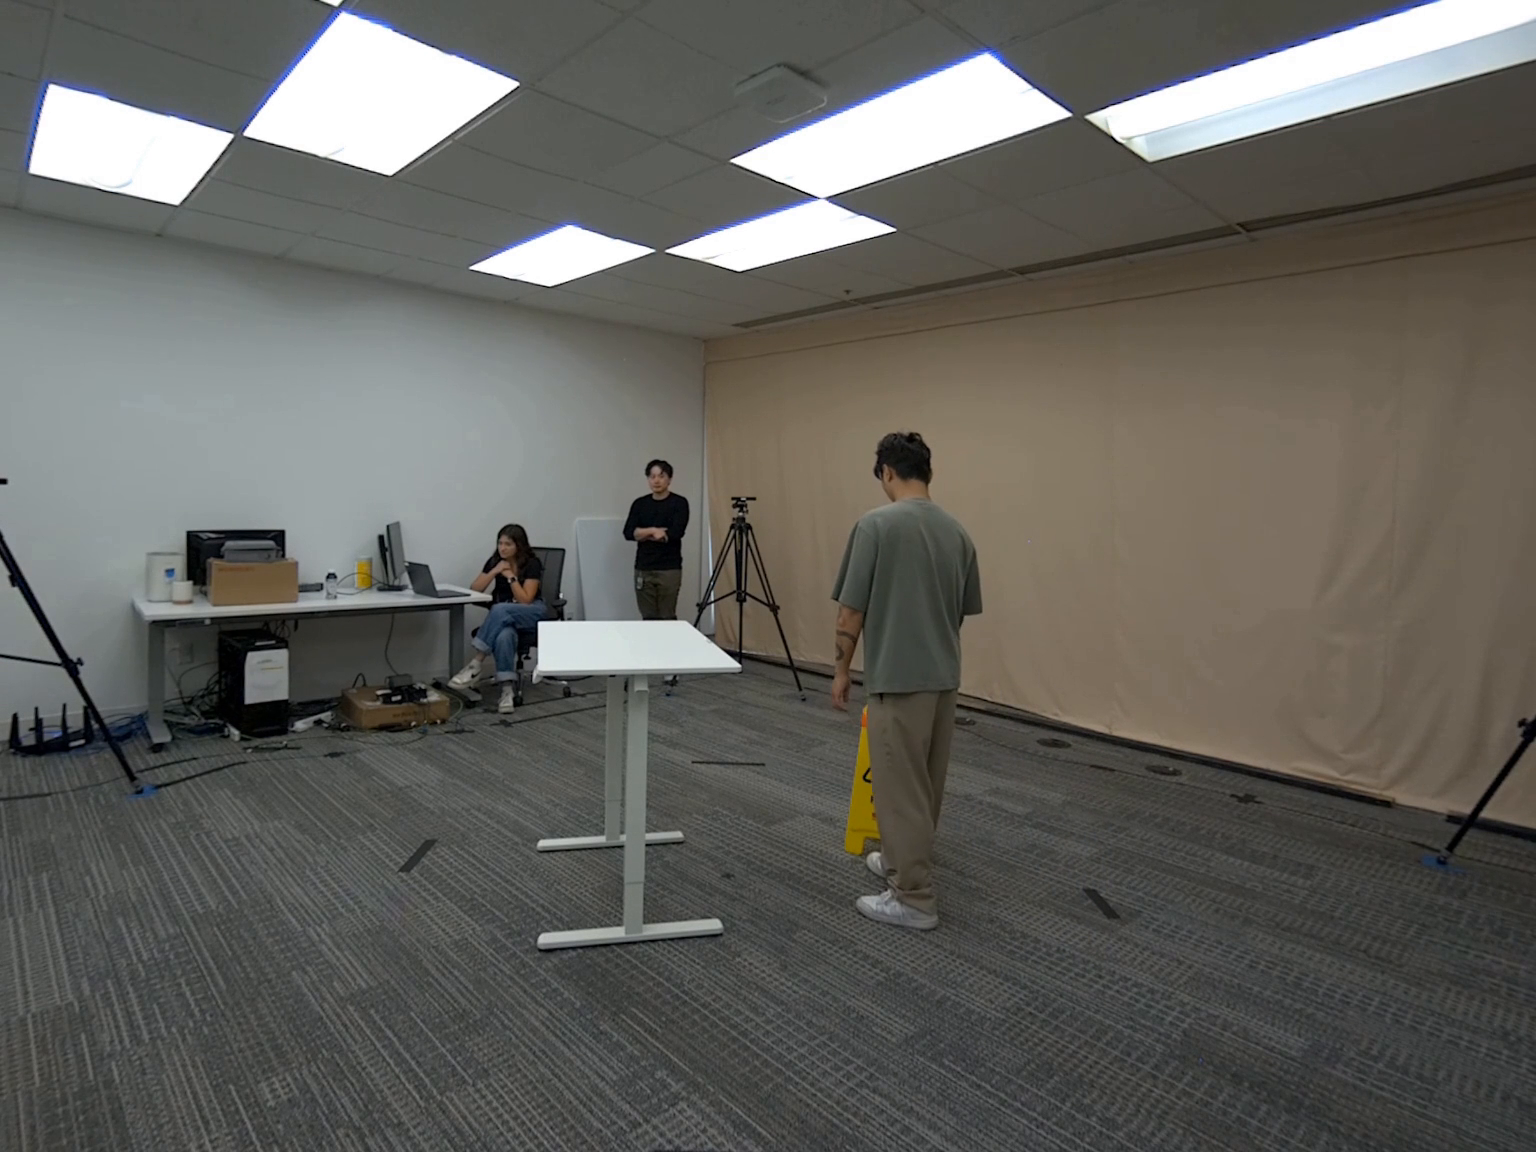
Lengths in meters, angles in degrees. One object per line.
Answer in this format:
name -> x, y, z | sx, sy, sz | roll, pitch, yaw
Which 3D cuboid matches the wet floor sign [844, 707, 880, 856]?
wet floor sign -> 0.482, 0.778, 3.370 | 0.288, 0.645, 0.284 | 4, 3, 29
